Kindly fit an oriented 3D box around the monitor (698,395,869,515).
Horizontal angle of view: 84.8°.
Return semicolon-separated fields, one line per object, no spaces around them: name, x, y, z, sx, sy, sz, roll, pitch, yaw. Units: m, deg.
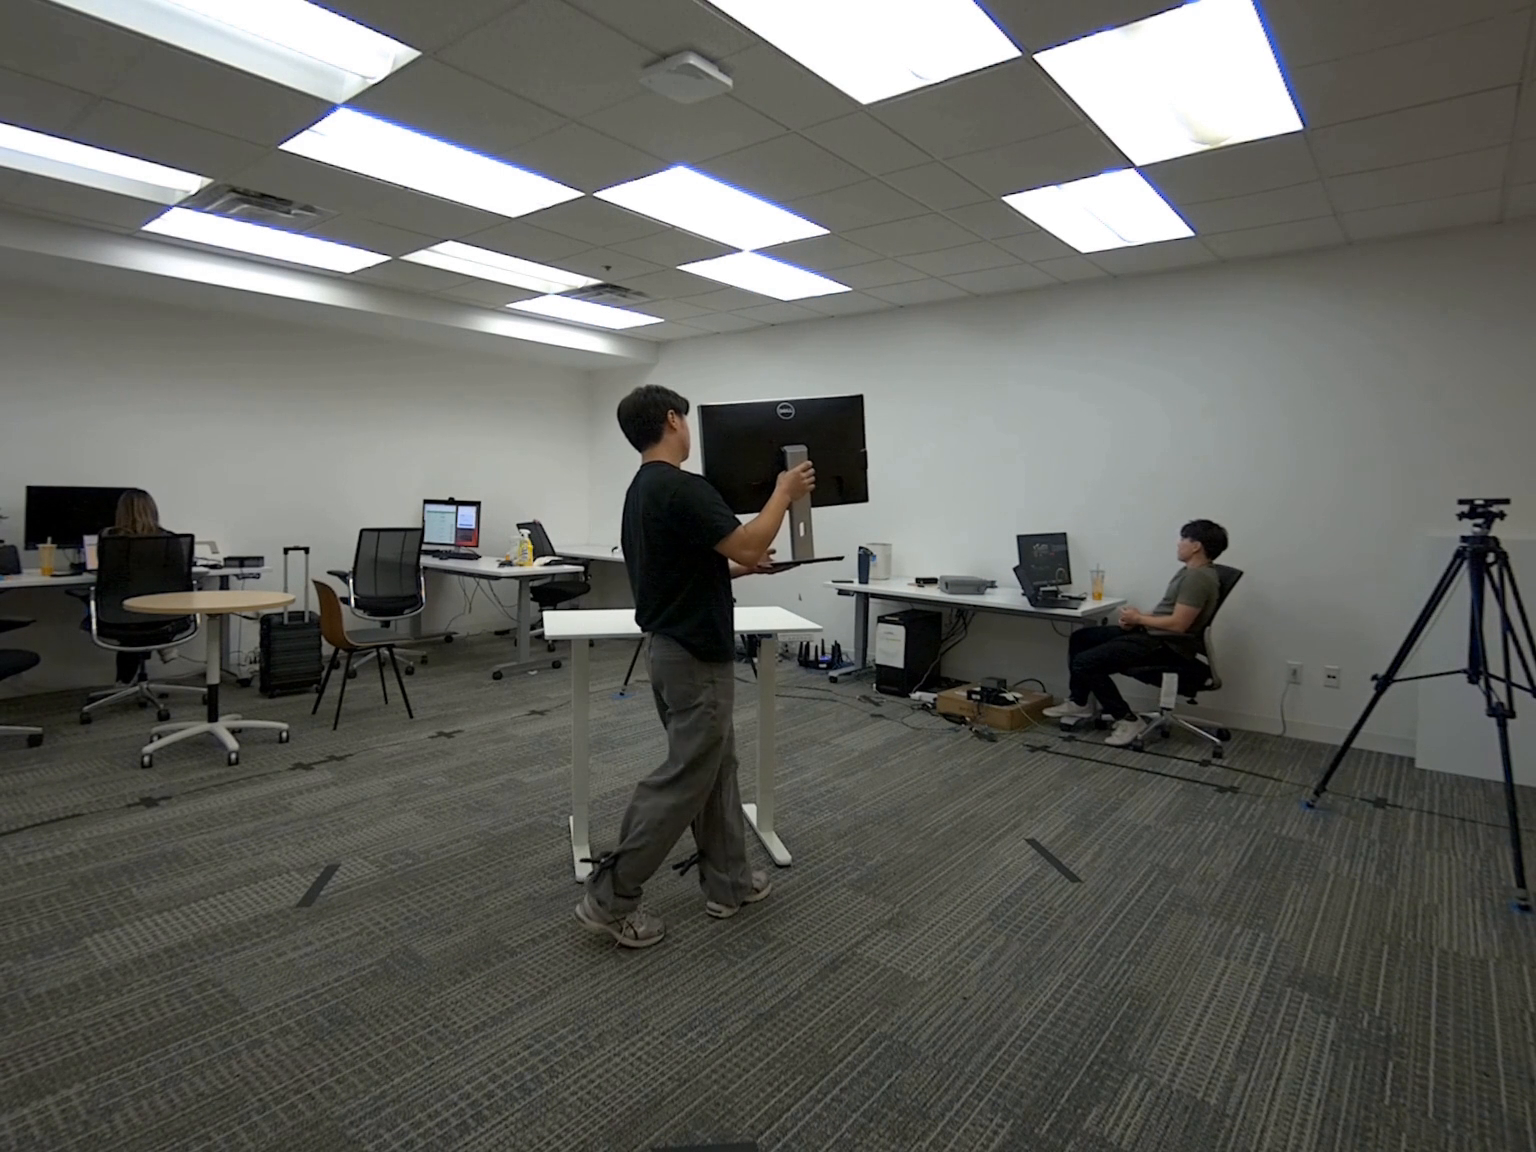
monitor;0.063;-0.300;2.739;0.556;0.569;0.223;-5;-5;-10
